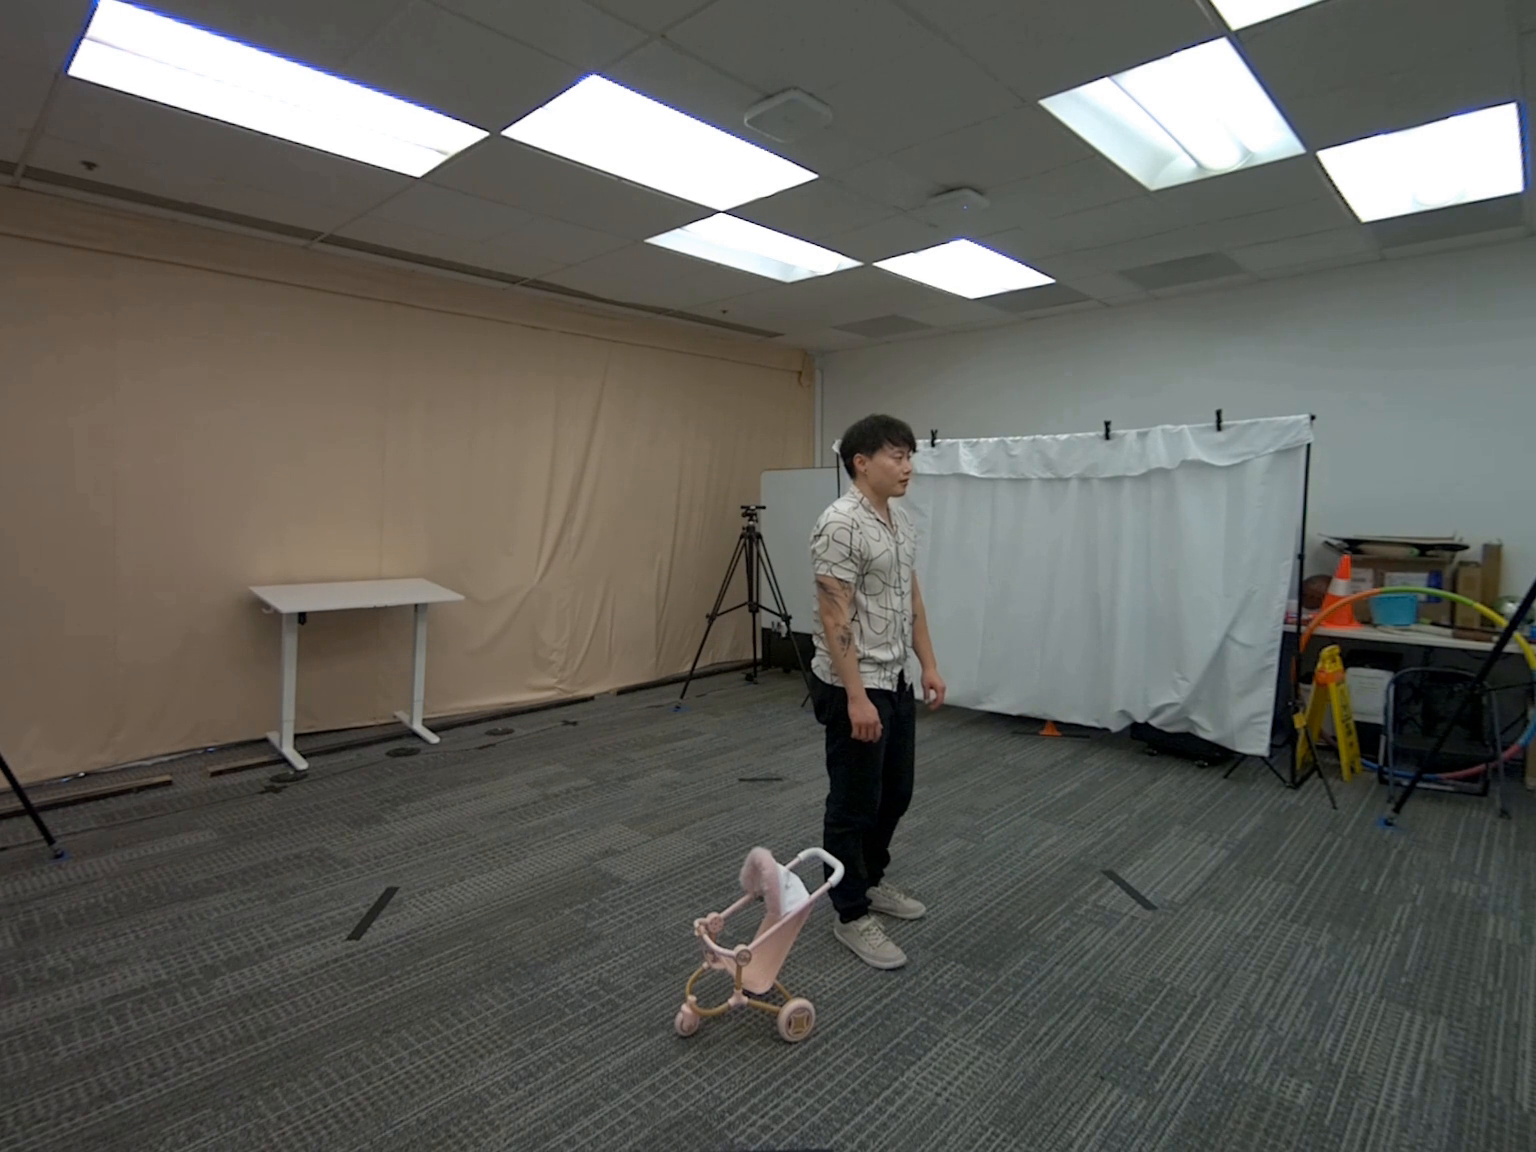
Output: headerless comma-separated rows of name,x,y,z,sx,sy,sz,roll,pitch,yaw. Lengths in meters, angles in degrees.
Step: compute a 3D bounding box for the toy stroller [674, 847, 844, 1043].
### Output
toy stroller,-0.030,0.981,2.276,0.334,0.535,0.287,18,-3,-19
